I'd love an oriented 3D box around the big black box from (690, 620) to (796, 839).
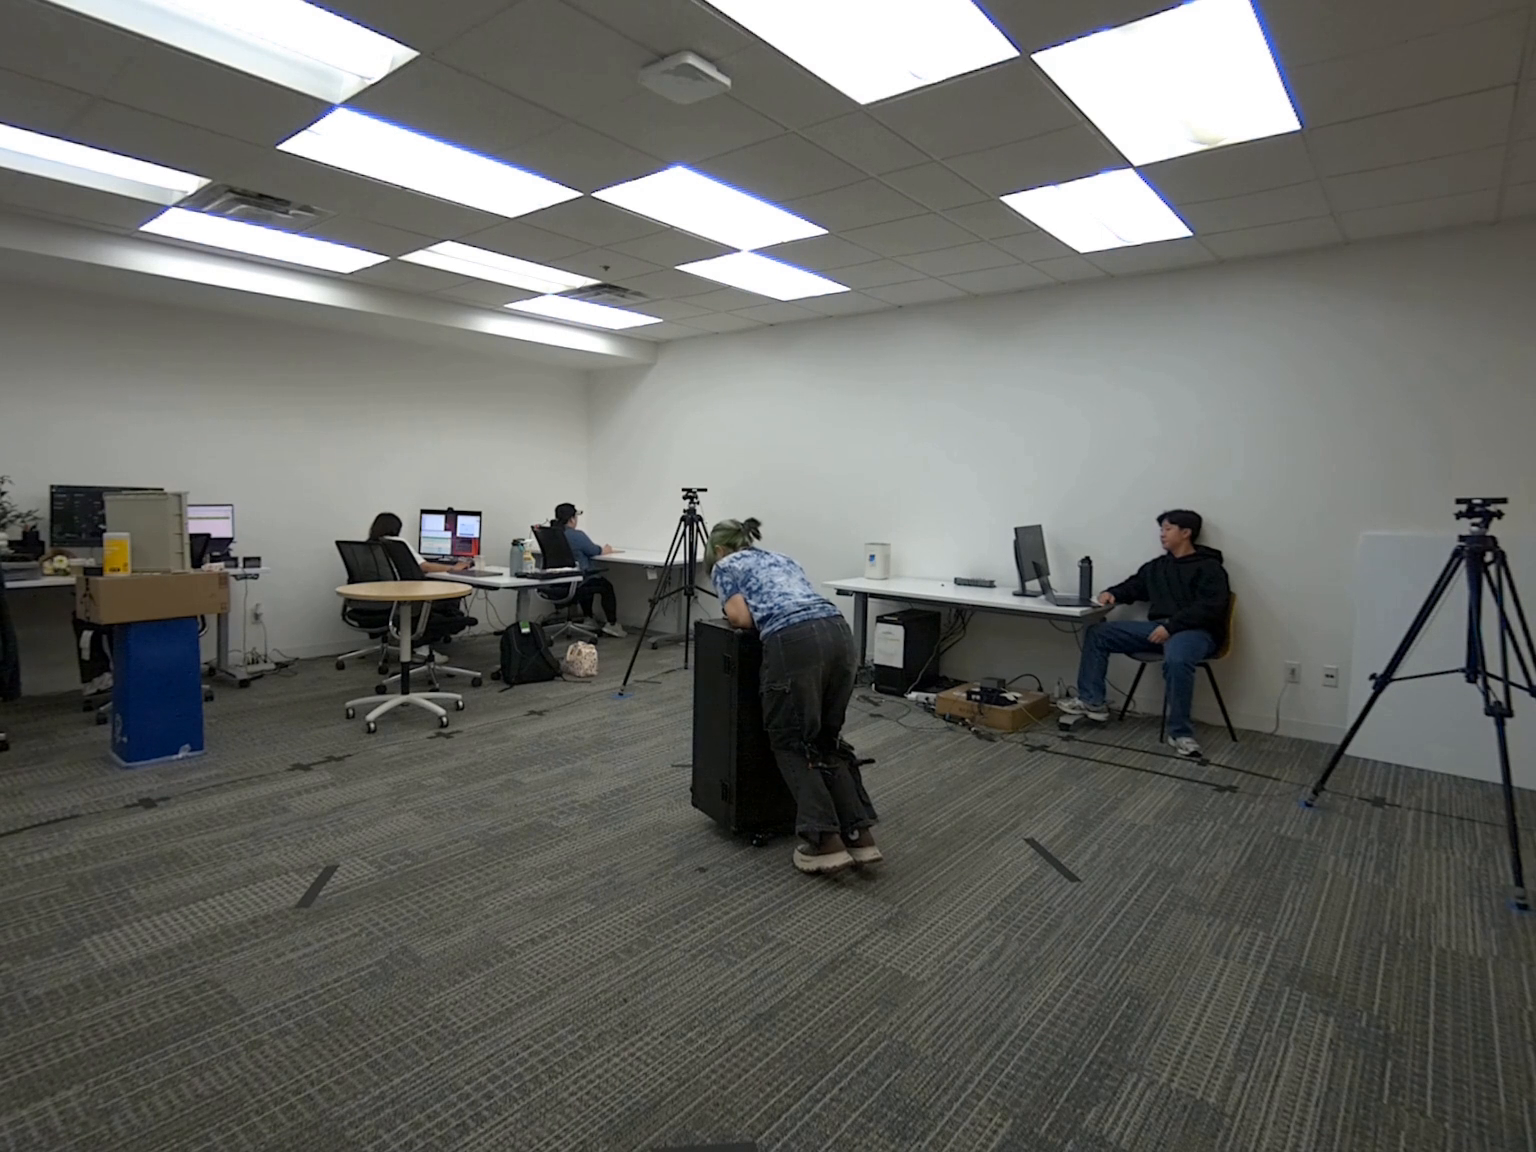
[{"bbox_3d":[-0.034,0.554,3.517,0.507,0.859,0.408,-1,4,-32],"label":"big black box"}]
